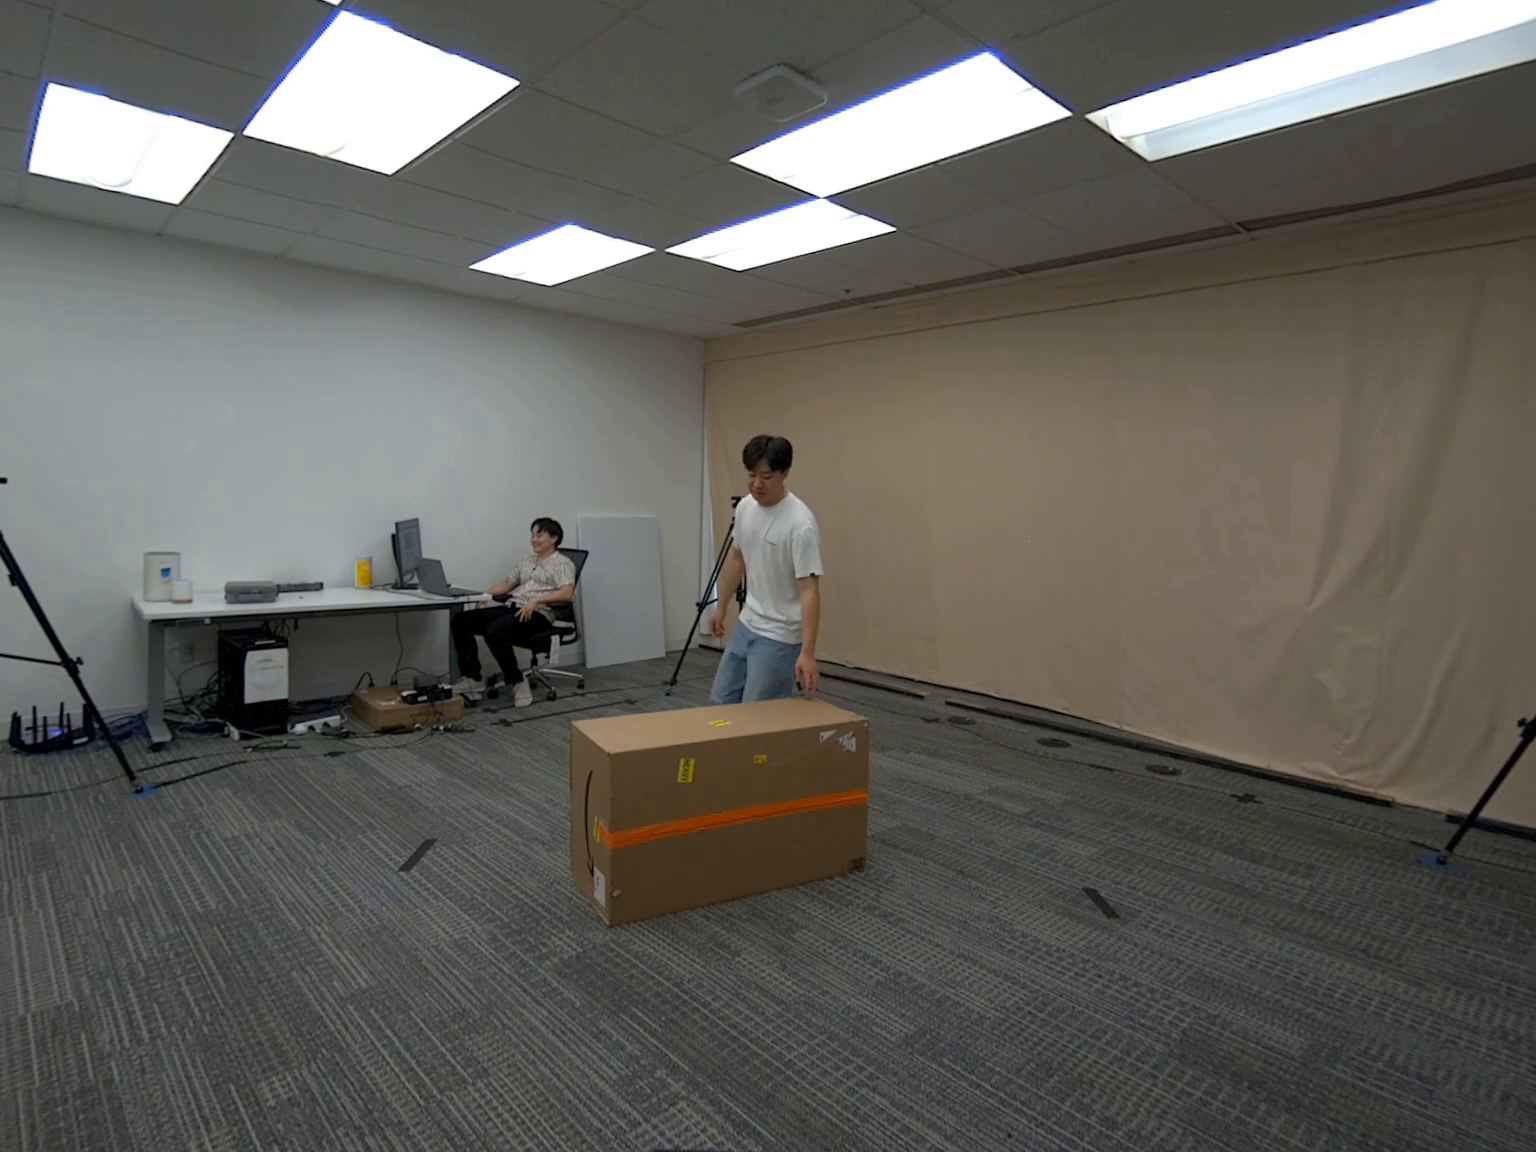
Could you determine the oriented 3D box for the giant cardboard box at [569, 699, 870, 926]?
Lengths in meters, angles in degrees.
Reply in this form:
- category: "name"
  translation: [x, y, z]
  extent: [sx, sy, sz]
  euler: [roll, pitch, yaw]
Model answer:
- category: "giant cardboard box"
  translation: [-0.174, 0.819, 3.102]
  extent: [1.006, 0.576, 0.435]
  euler: [-1, 4, -28]
